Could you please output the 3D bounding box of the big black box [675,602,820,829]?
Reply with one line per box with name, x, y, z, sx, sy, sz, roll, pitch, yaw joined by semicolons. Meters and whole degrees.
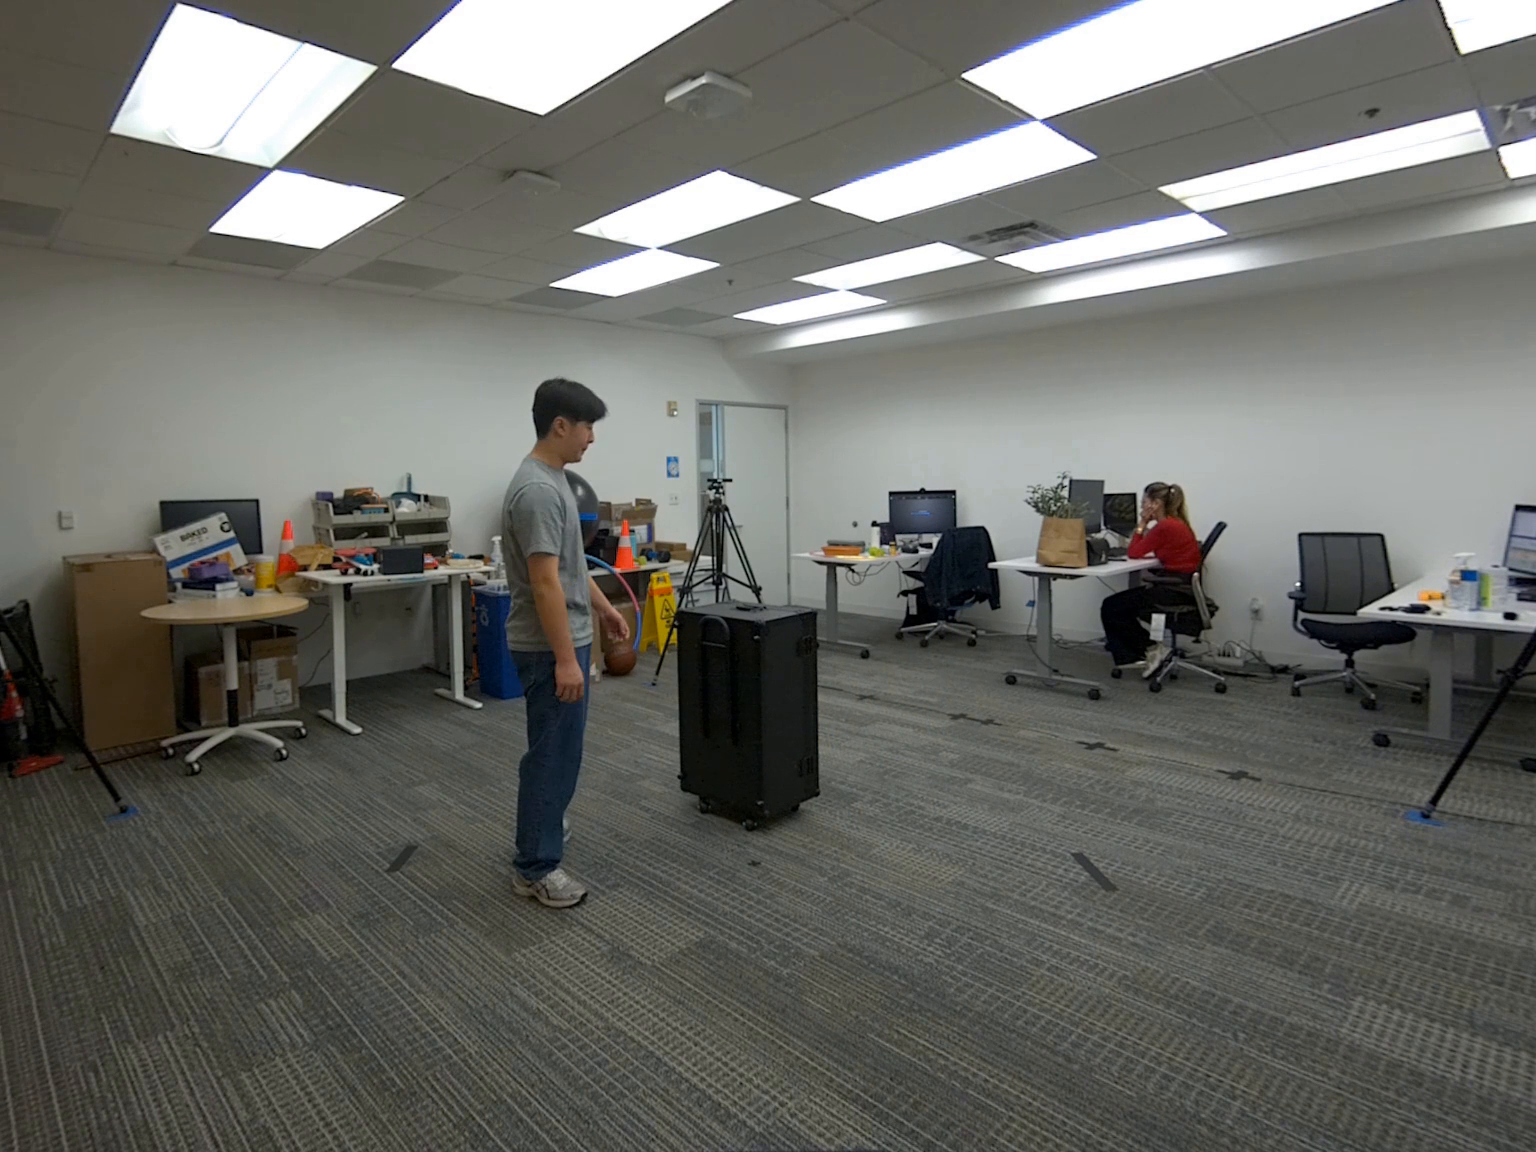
big black box;-0.088;0.565;3.587;0.537;0.858;0.386;3;7;43
